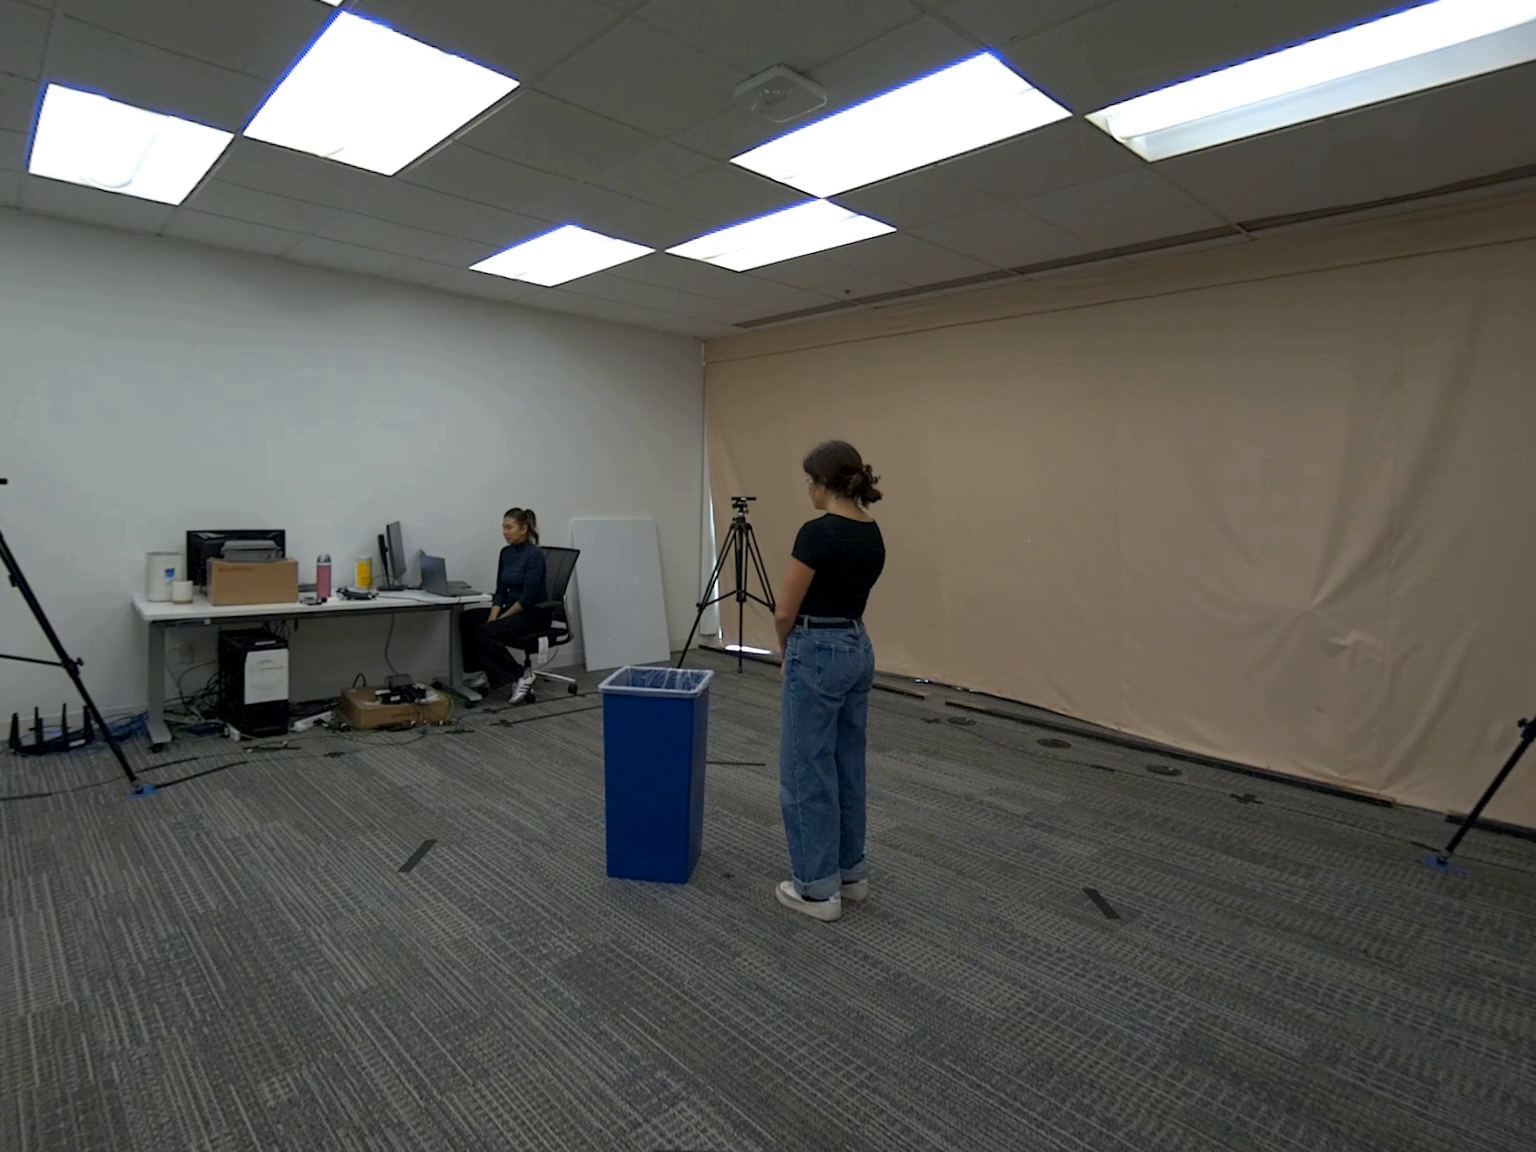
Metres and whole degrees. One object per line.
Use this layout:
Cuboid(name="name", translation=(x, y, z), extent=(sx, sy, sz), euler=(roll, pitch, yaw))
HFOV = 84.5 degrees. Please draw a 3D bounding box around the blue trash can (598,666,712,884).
Cuboid(name="blue trash can", translation=(-0.430, 0.742, 3.172), extent=(0.381, 0.712, 0.372), euler=(1, 3, 8))
